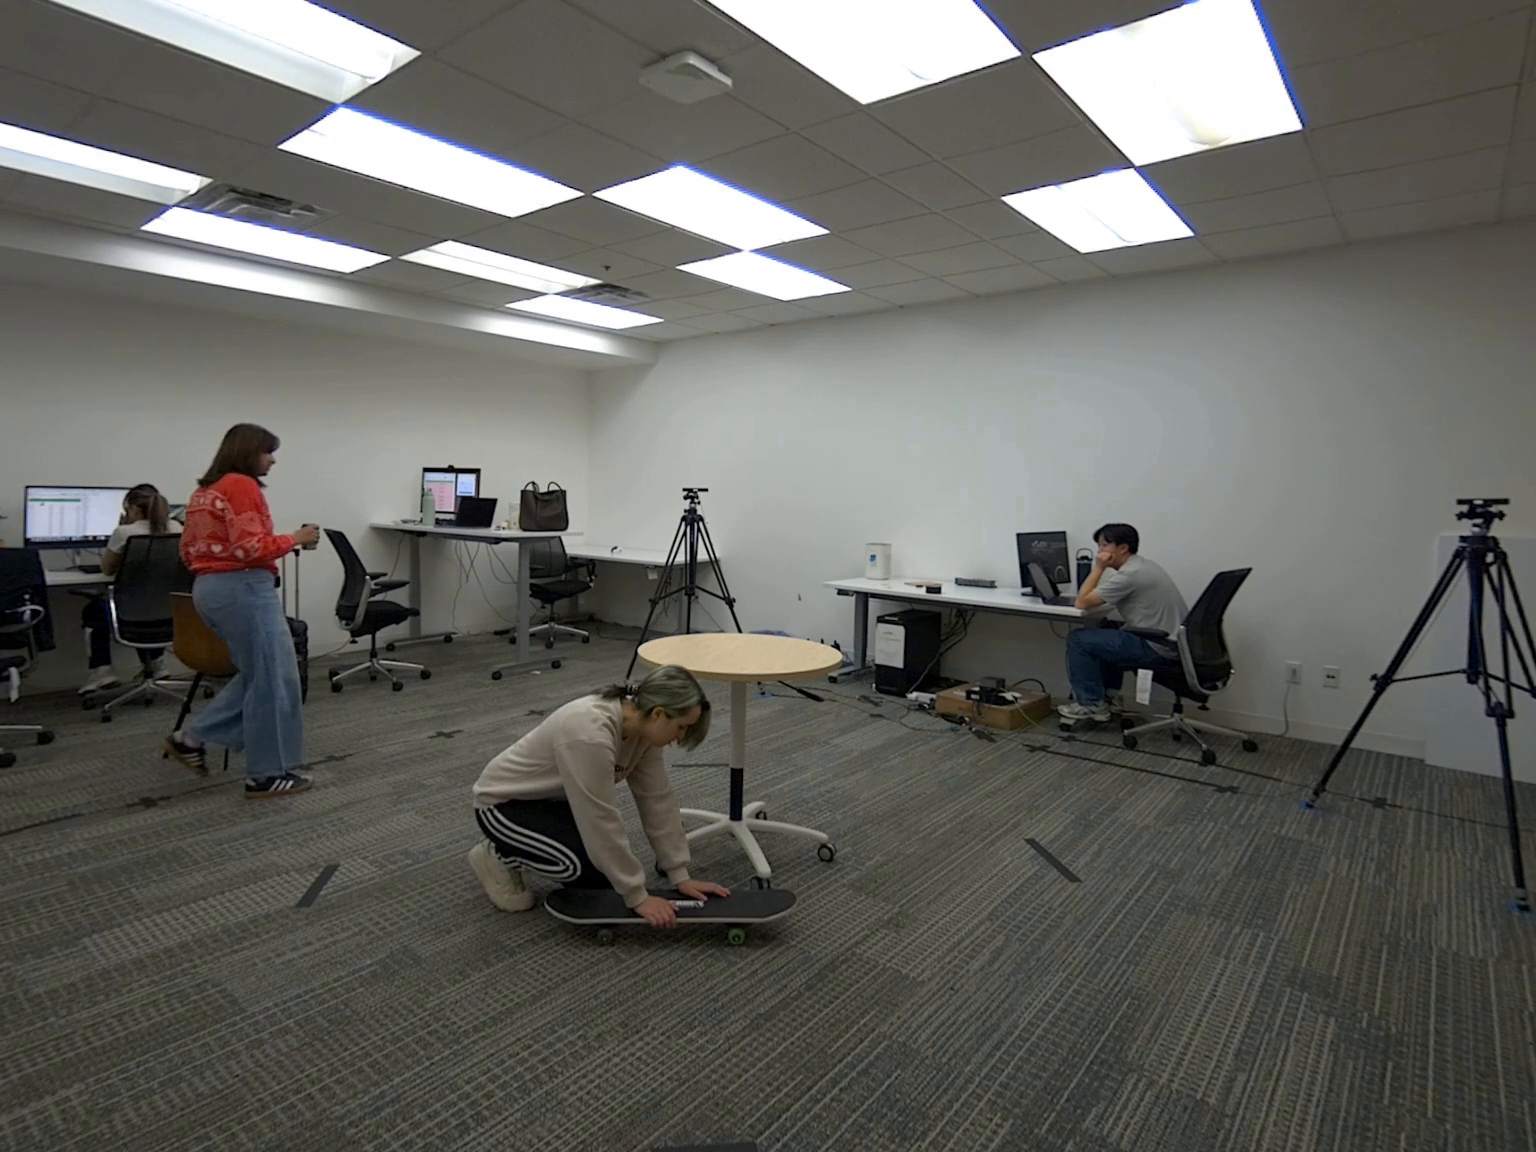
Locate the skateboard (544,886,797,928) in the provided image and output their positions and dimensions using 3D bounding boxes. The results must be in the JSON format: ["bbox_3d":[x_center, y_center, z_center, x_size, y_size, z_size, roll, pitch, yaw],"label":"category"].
[{"bbox_3d":[-0.310,1.058,2.662,0.782,0.110,0.195,0,5,-3],"label":"skateboard"}]
